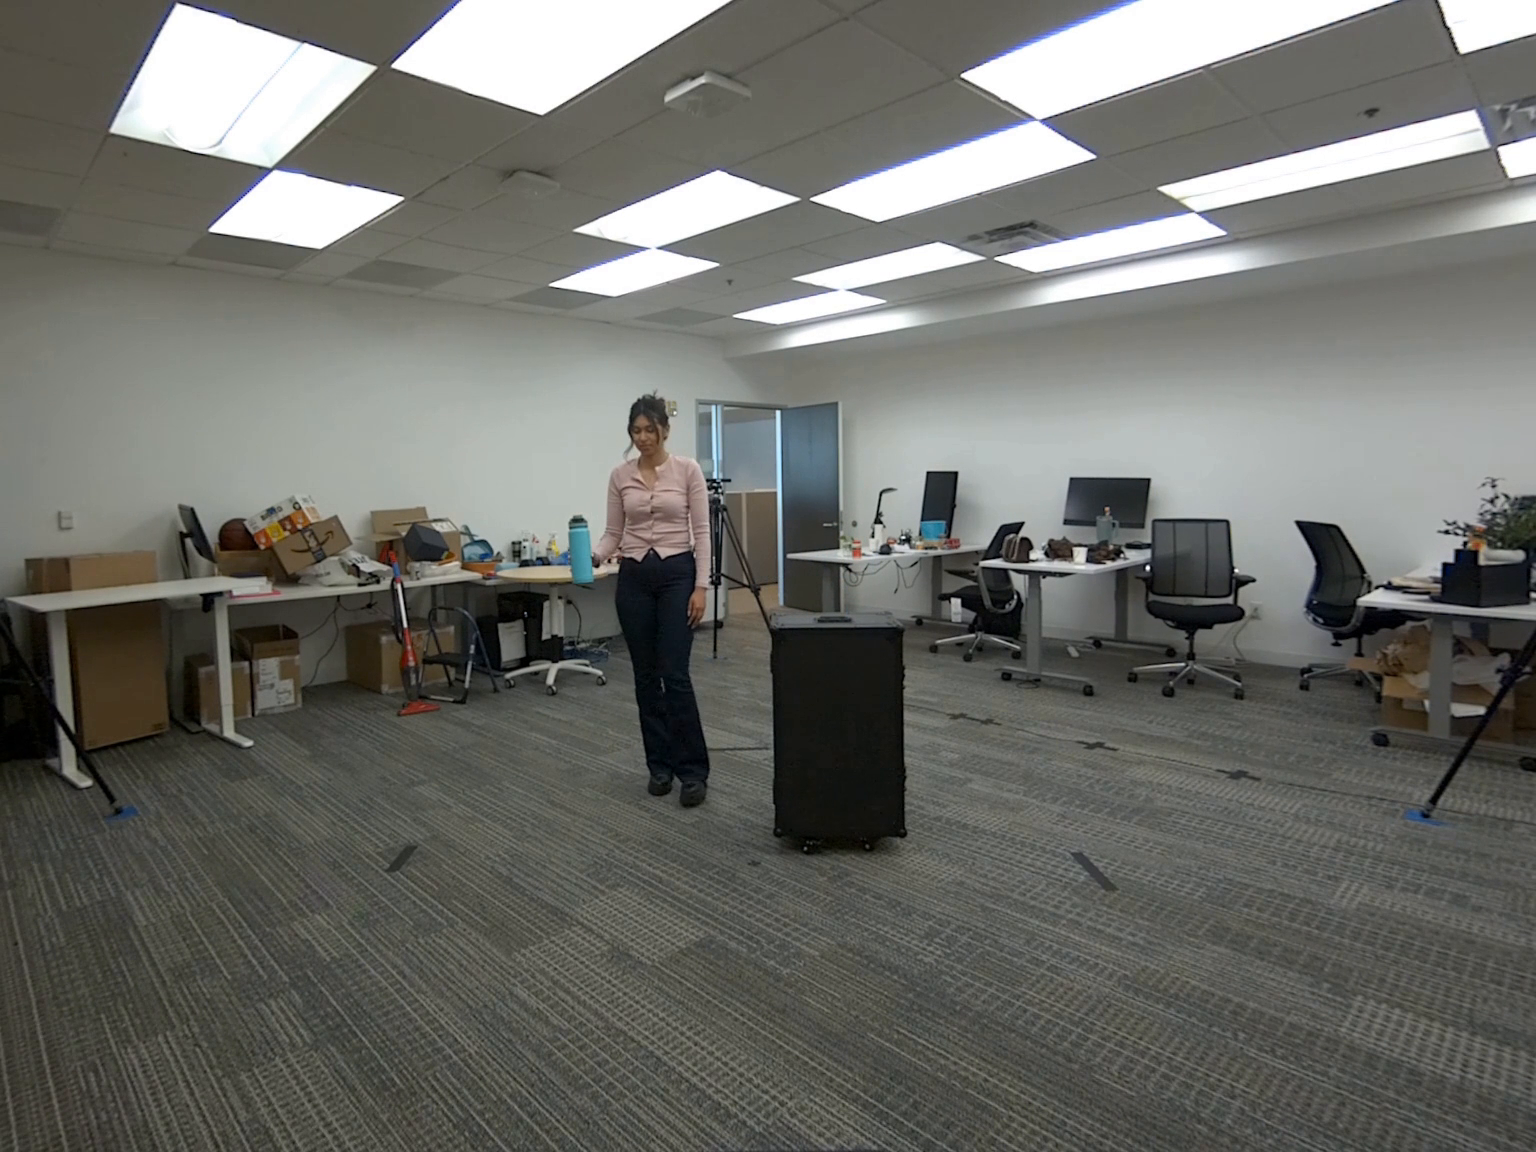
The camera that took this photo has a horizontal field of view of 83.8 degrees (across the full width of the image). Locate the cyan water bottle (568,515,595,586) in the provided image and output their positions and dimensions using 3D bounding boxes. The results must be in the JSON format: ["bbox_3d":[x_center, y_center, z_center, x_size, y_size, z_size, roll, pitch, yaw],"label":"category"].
[{"bbox_3d":[-0.787,-0.112,3.580,0.092,0.284,0.092,-8,-1,-2],"label":"cyan water bottle"}]
